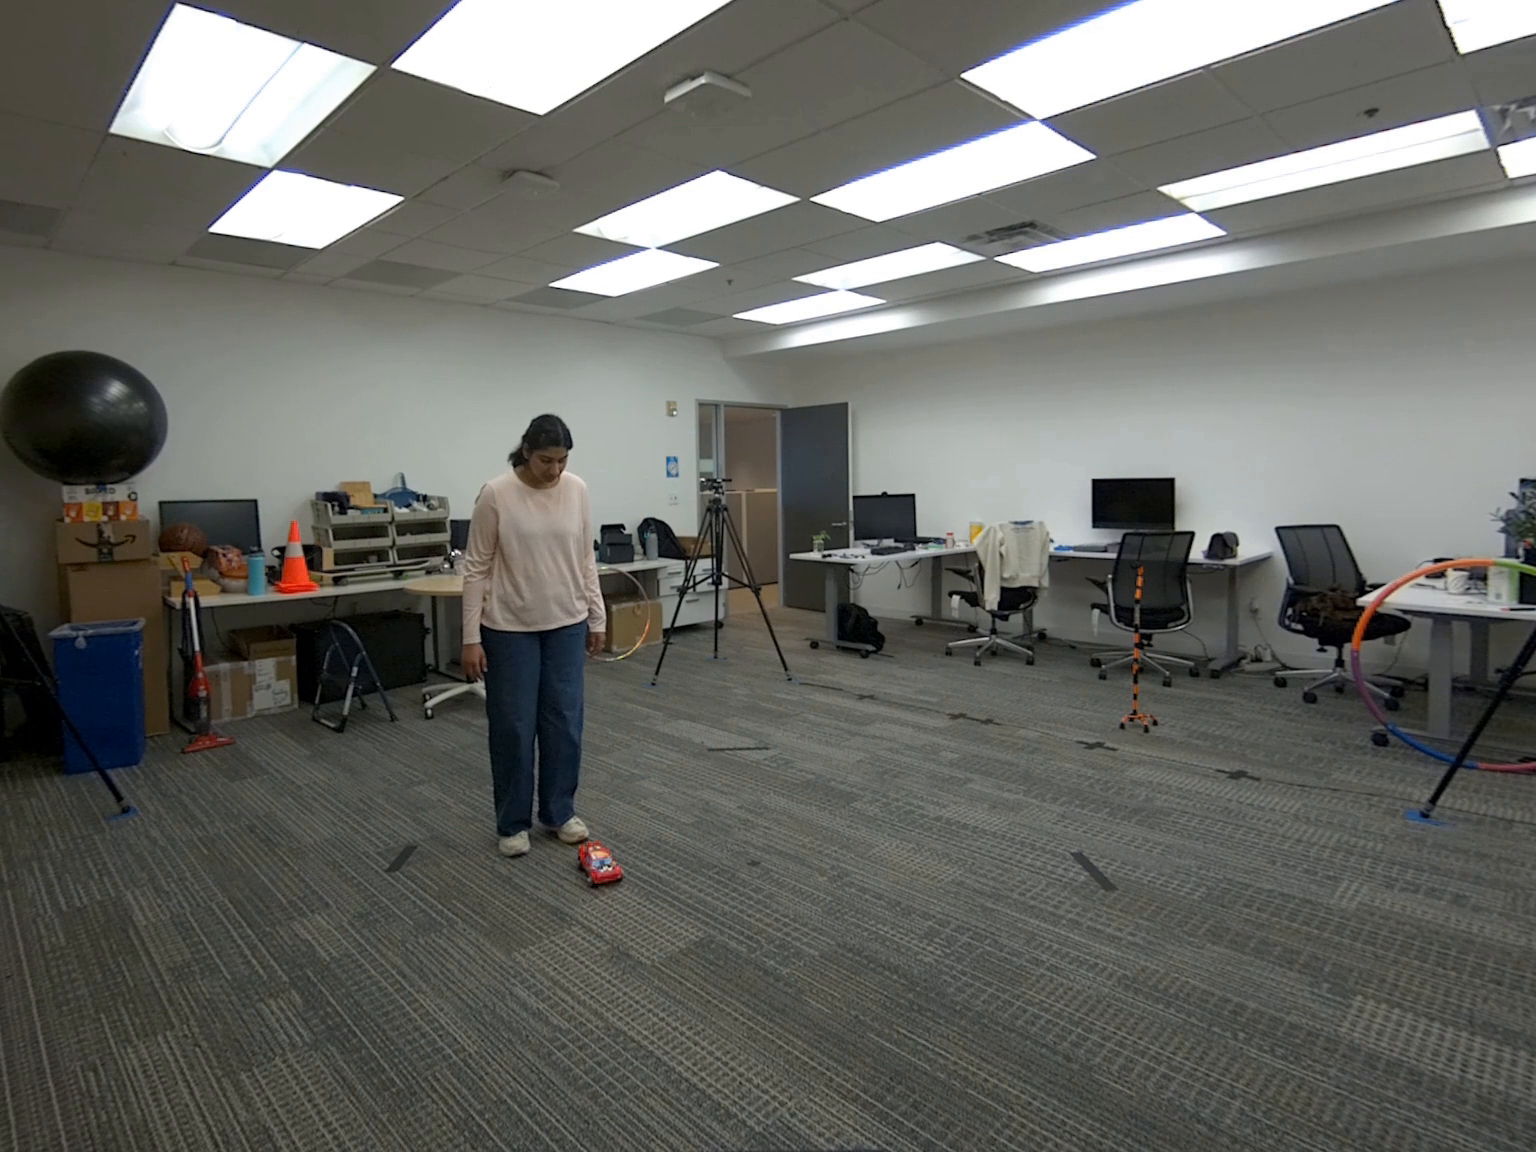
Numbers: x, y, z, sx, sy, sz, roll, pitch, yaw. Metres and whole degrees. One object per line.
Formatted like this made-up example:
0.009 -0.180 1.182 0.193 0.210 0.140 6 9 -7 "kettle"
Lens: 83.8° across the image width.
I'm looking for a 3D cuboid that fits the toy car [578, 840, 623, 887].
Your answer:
-0.606 1.028 3.056 0.128 0.082 0.263 -5 18 -25 "toy car"
